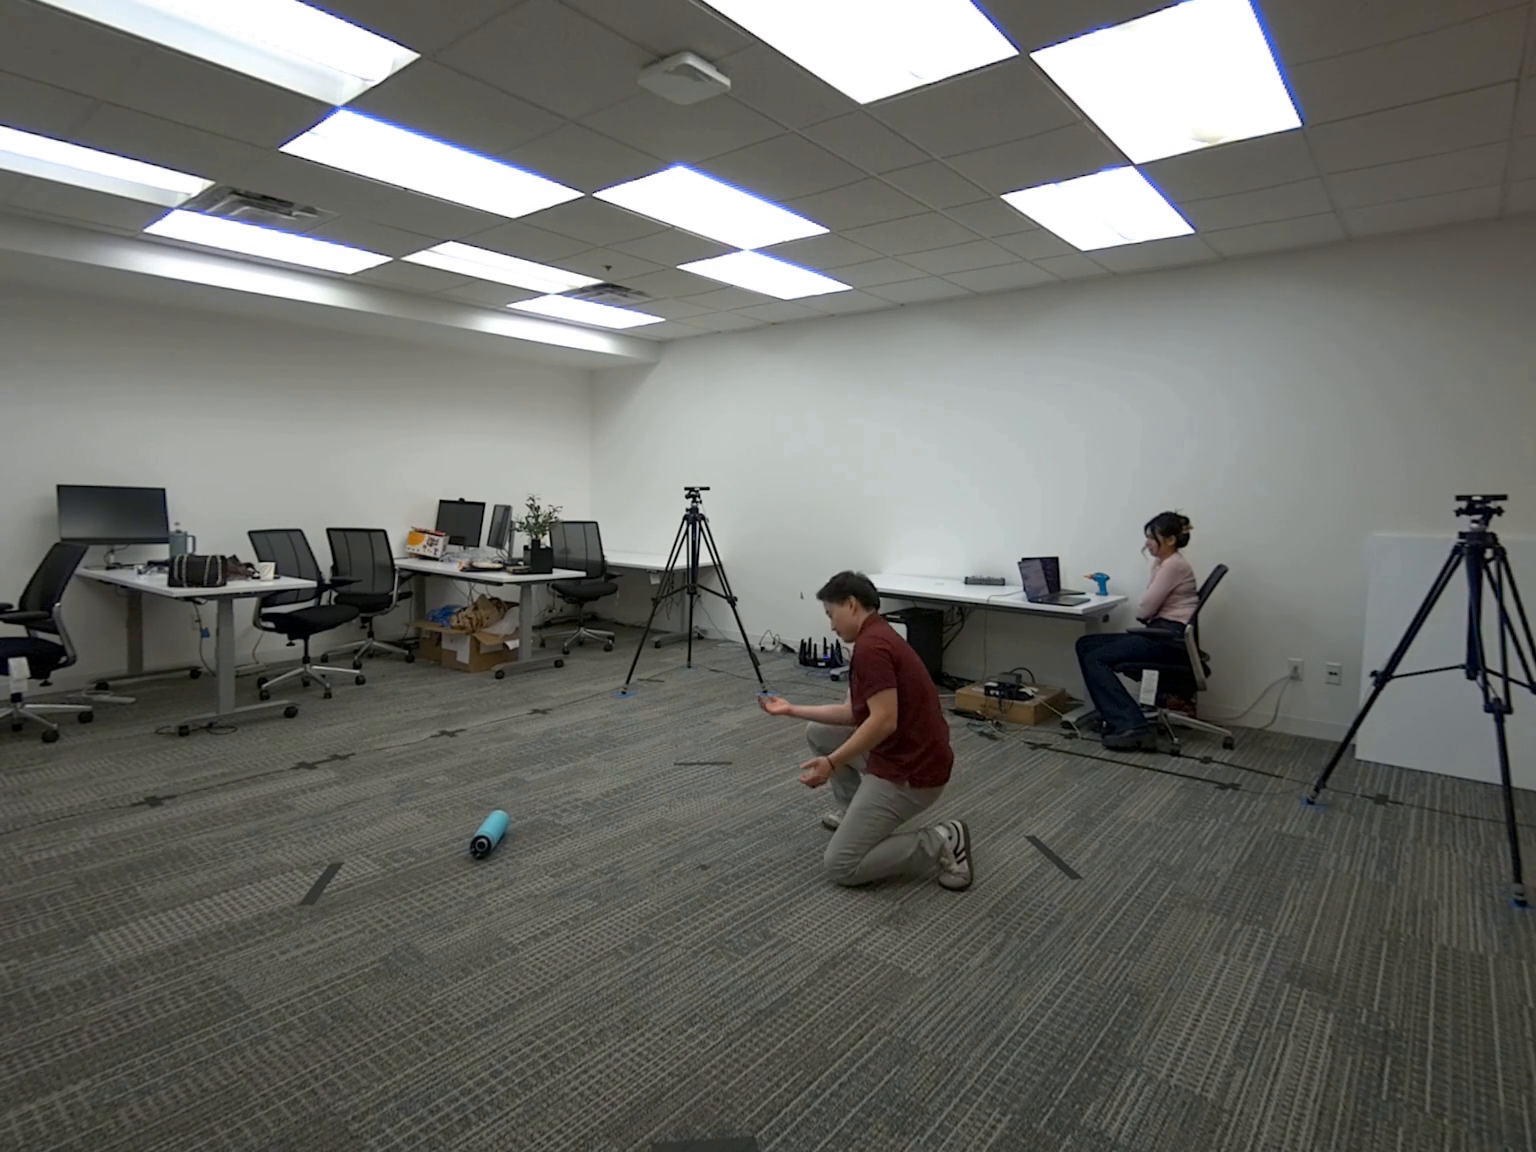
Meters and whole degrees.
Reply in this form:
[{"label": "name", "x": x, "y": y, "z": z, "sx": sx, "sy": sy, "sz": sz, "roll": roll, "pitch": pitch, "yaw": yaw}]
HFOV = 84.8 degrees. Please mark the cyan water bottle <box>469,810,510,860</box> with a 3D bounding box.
[{"label": "cyan water bottle", "x": -1.084, "y": 0.992, "z": 3.274, "sx": 0.092, "sy": 0.092, "sz": 0.285, "roll": 1, "pitch": 6, "yaw": -2}]
